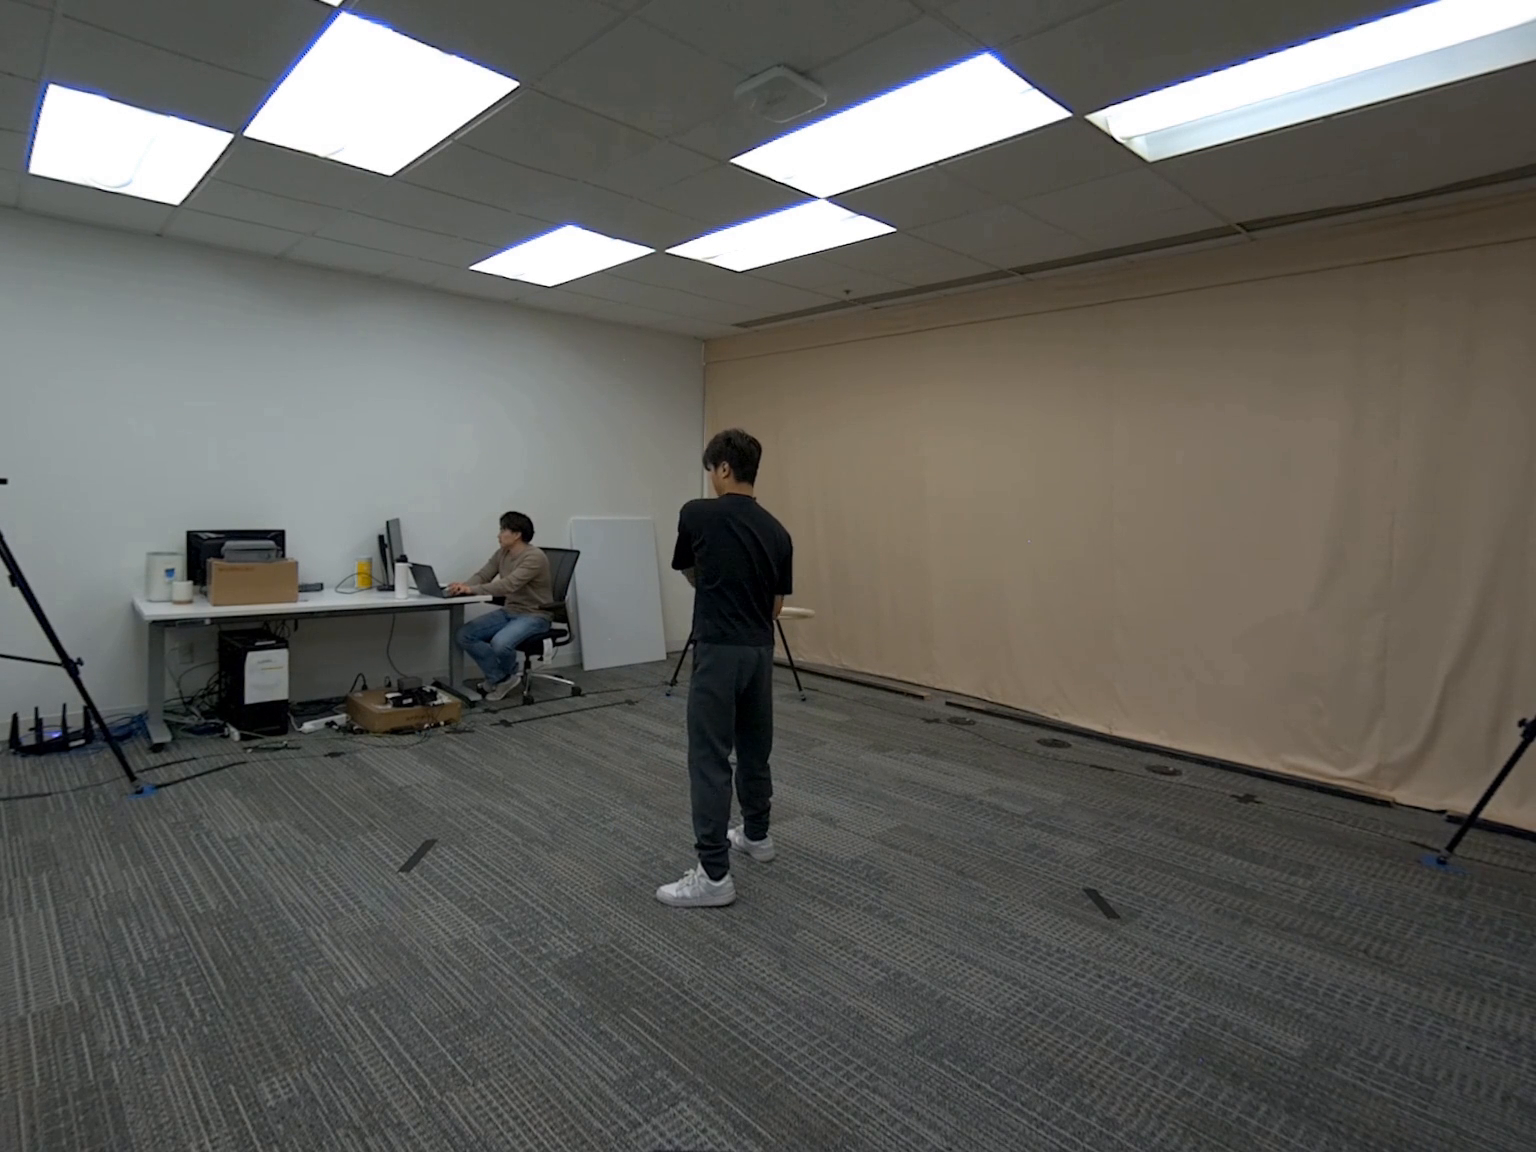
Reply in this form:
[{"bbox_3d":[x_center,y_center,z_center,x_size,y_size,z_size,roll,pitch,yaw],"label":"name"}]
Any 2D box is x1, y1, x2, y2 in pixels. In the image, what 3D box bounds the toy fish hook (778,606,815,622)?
[{"bbox_3d":[-0.063,0.159,3.564,0.497,0.049,0.226,4,-13,-24],"label":"toy fish hook"}]
